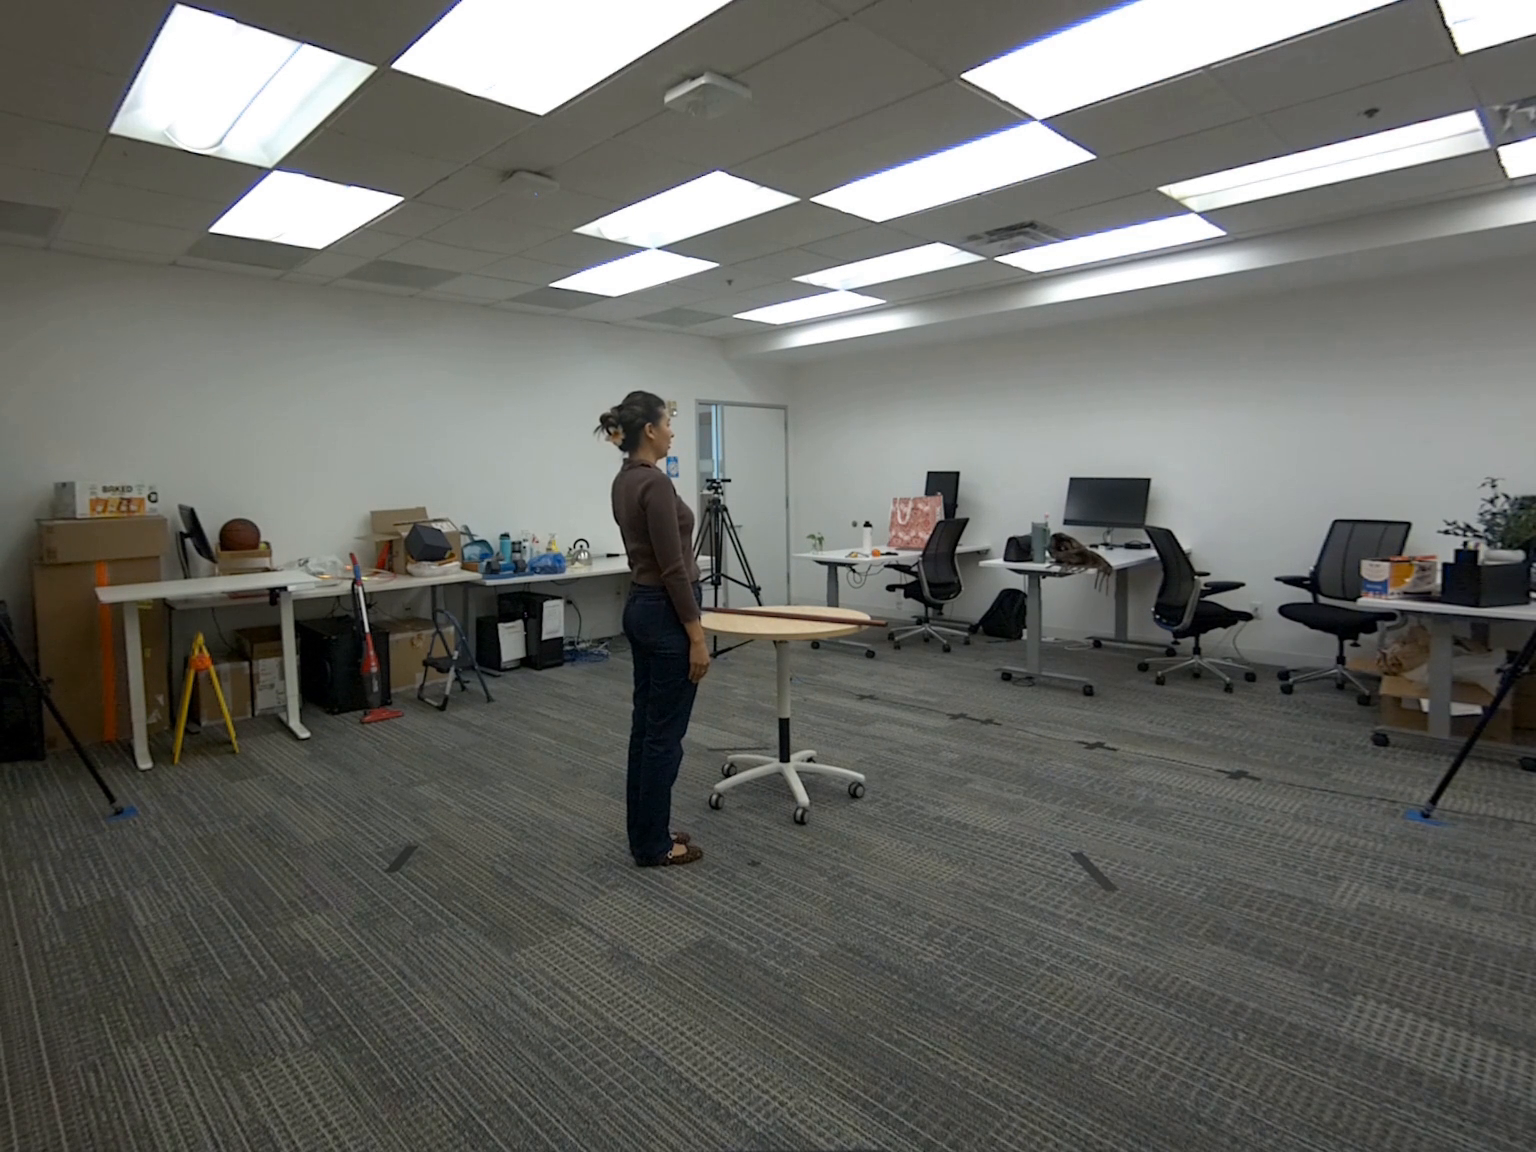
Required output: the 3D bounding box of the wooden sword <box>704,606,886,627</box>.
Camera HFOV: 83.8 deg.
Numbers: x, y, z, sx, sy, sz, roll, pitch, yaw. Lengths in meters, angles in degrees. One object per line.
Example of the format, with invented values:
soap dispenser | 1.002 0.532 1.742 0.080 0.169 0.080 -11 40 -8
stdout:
wooden sword | 0.091 0.181 3.771 1.054 0.052 0.023 3 -25 36
